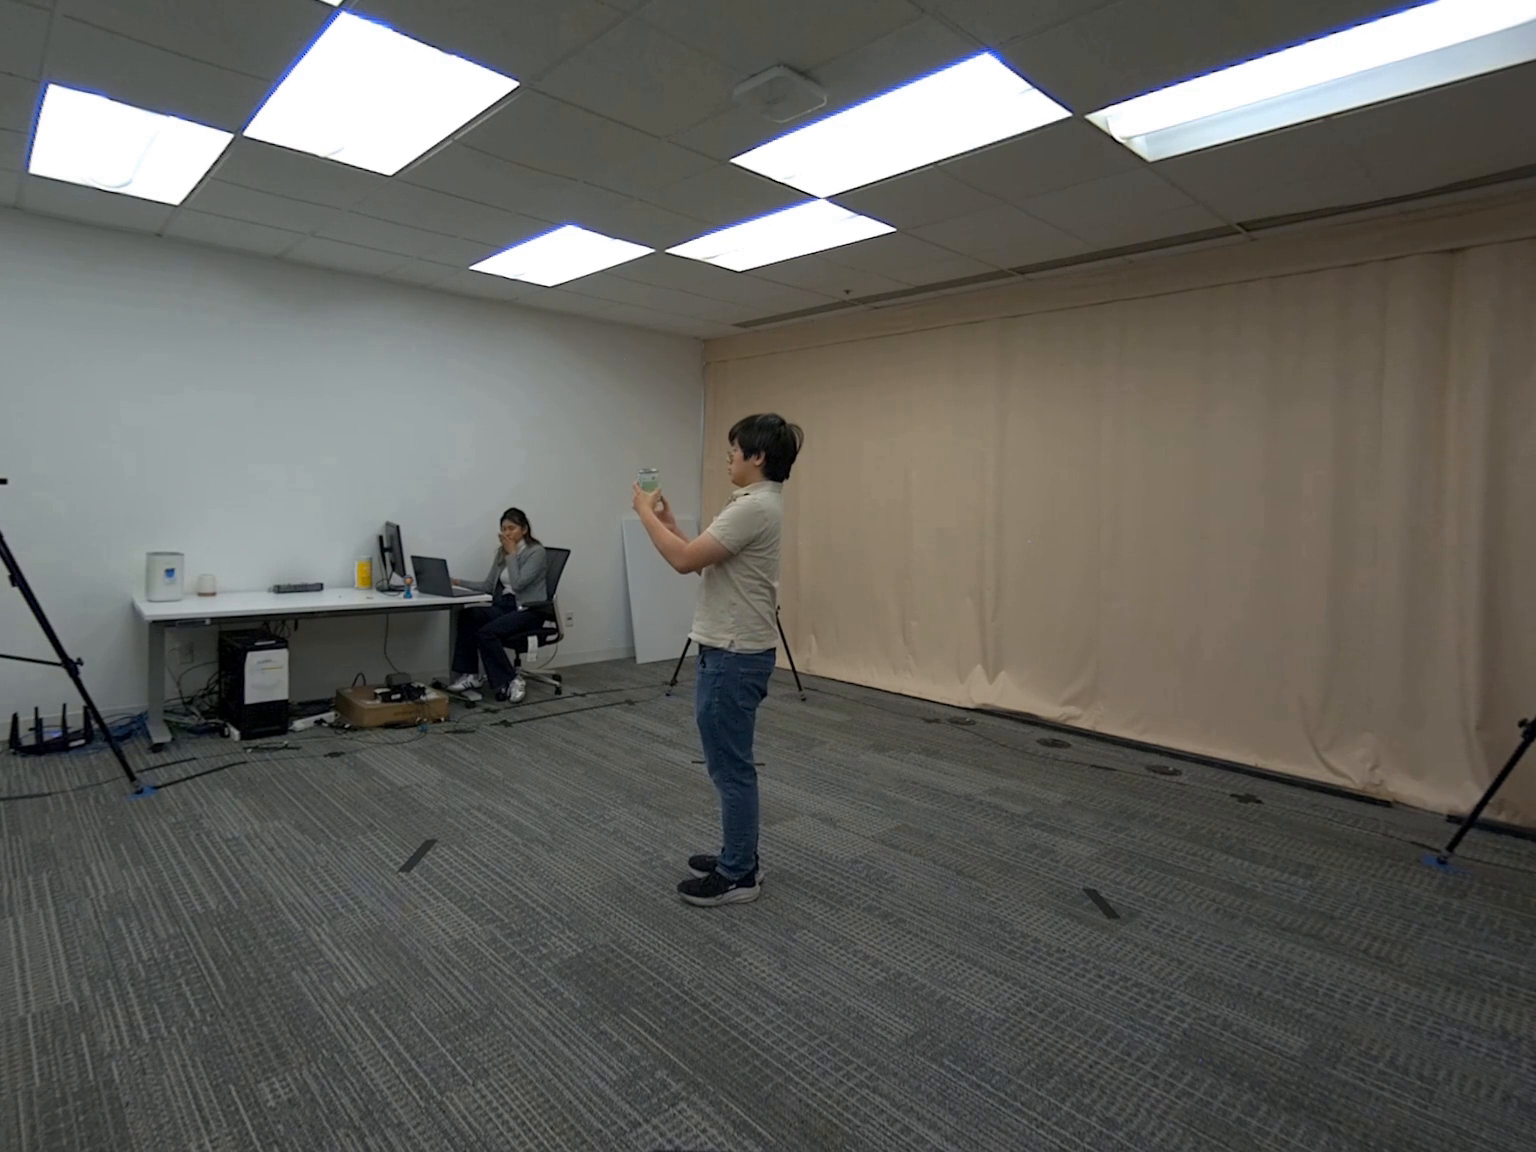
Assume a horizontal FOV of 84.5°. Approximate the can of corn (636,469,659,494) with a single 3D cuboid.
[{"bbox_3d":[-0.421,-0.315,2.962,0.074,0.110,0.075,-2,12,-1],"label":"can of corn"}]
